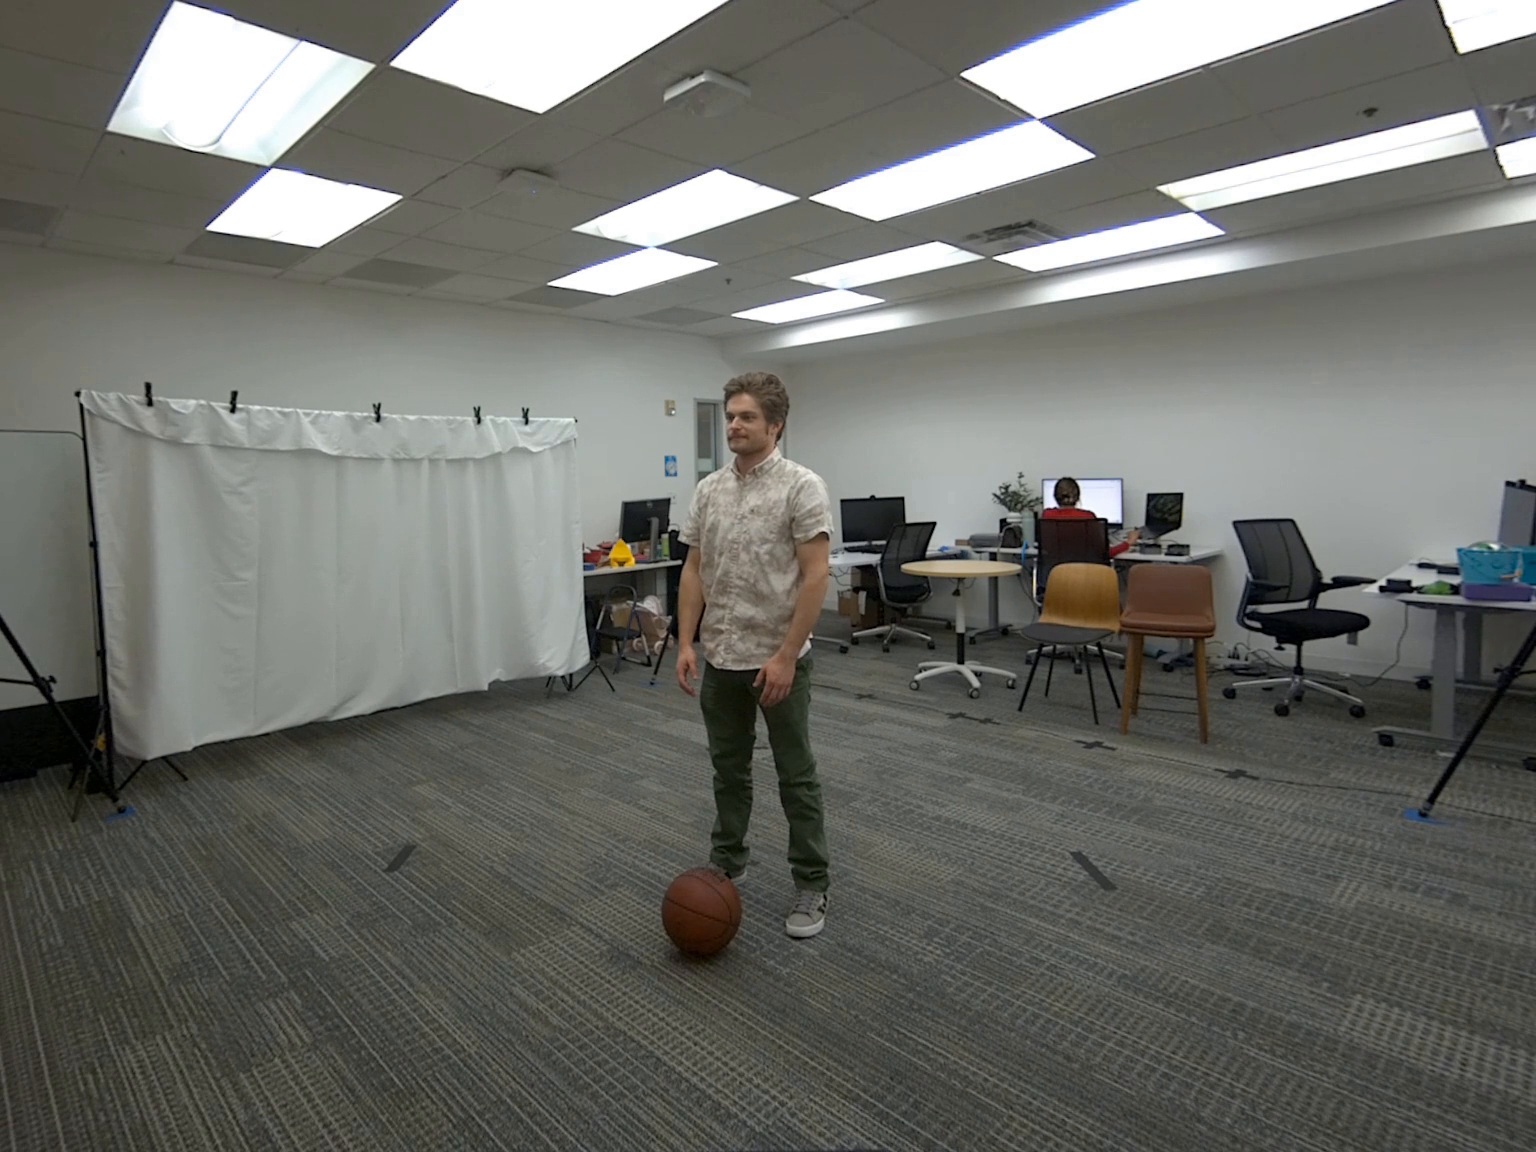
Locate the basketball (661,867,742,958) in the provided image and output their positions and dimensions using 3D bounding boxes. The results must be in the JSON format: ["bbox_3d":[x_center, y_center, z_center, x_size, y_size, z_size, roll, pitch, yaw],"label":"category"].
[{"bbox_3d":[-0.189,0.995,2.540,0.236,0.235,0.237,-1,5,-2],"label":"basketball"}]
